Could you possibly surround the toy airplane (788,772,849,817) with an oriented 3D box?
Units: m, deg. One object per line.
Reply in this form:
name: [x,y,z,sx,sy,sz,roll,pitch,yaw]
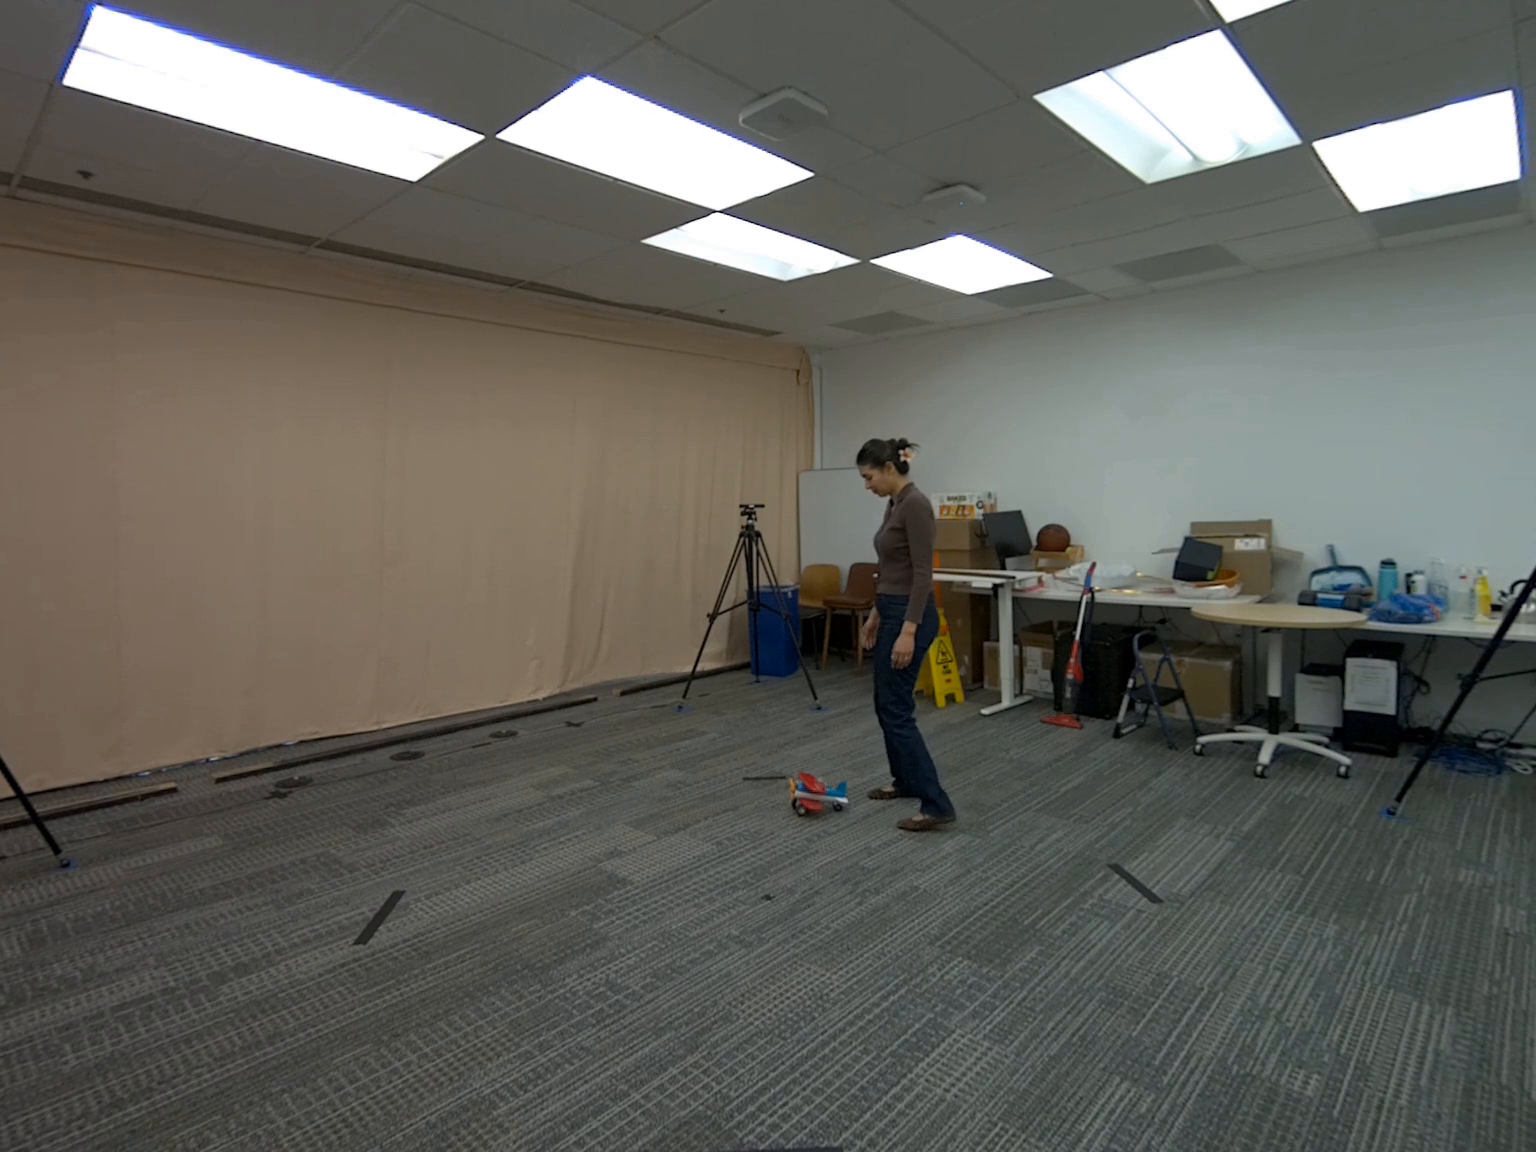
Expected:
toy airplane: [0.226,0.992,3.829,0.251,0.156,0.259,-5,5,-39]
